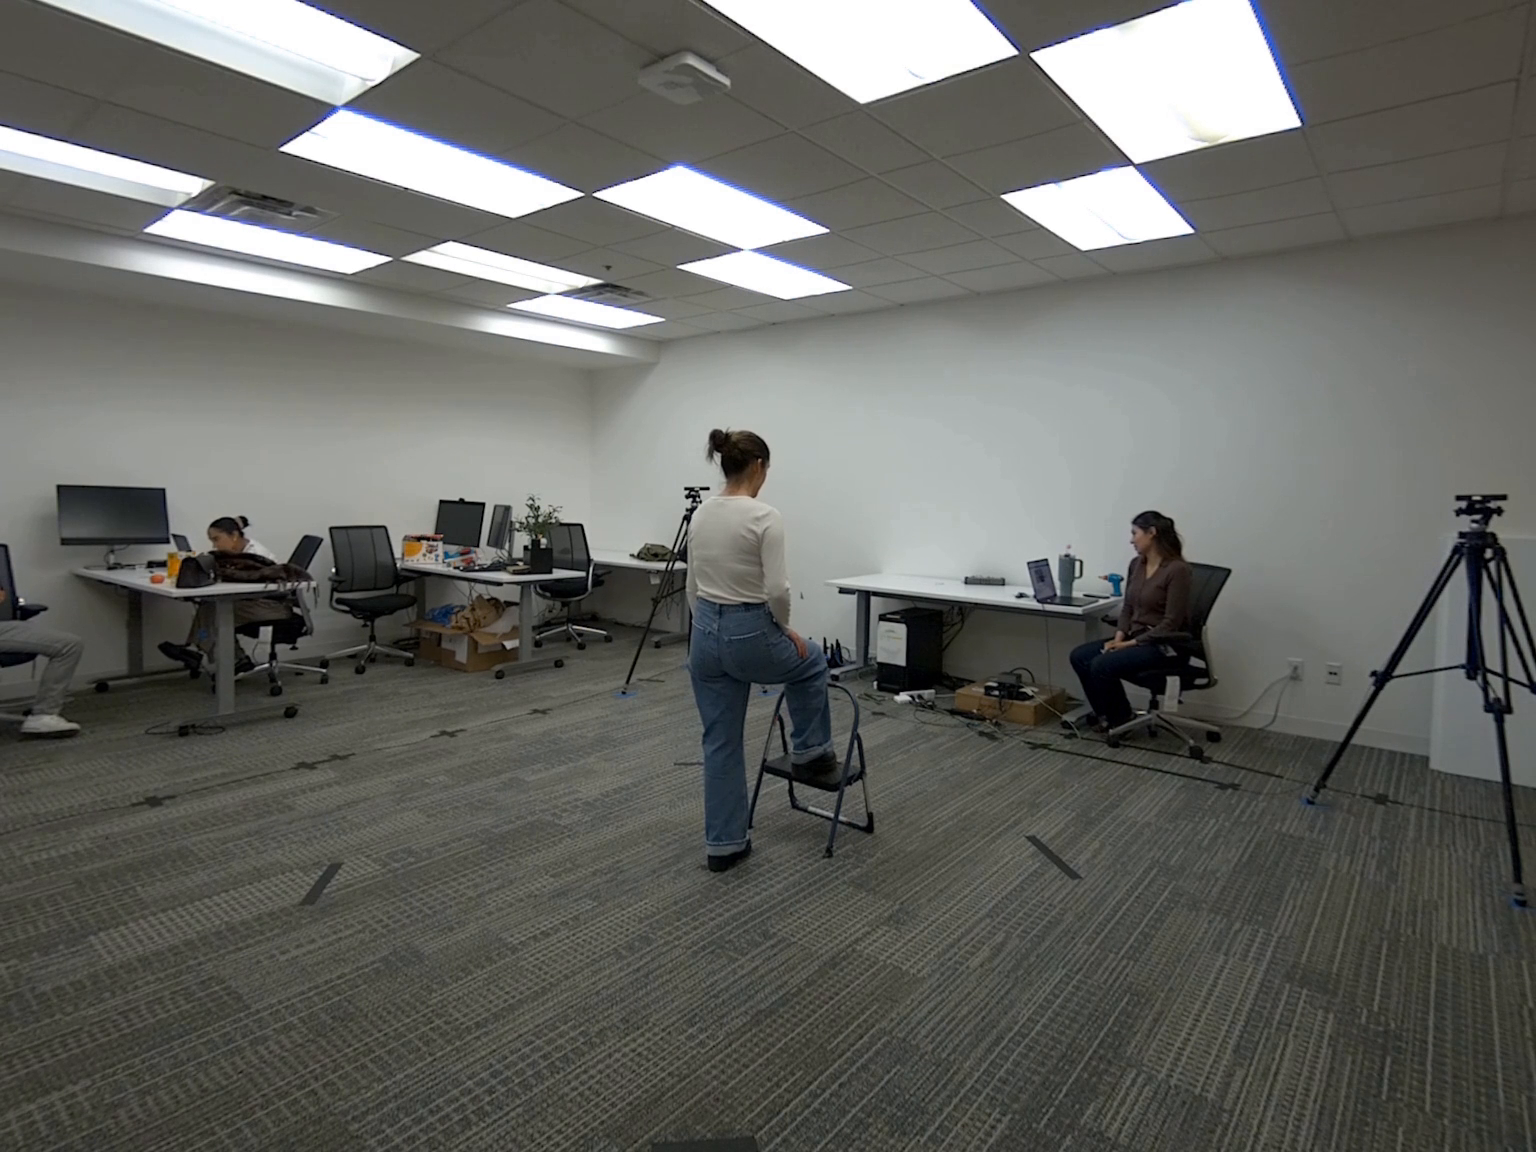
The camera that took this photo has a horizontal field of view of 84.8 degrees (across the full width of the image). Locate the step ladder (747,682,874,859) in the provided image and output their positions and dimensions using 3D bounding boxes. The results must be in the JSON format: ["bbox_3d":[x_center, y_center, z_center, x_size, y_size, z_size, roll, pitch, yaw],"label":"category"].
[{"bbox_3d":[0.168,0.735,3.466,0.445,0.604,0.339,4,4,39],"label":"step ladder"}]
